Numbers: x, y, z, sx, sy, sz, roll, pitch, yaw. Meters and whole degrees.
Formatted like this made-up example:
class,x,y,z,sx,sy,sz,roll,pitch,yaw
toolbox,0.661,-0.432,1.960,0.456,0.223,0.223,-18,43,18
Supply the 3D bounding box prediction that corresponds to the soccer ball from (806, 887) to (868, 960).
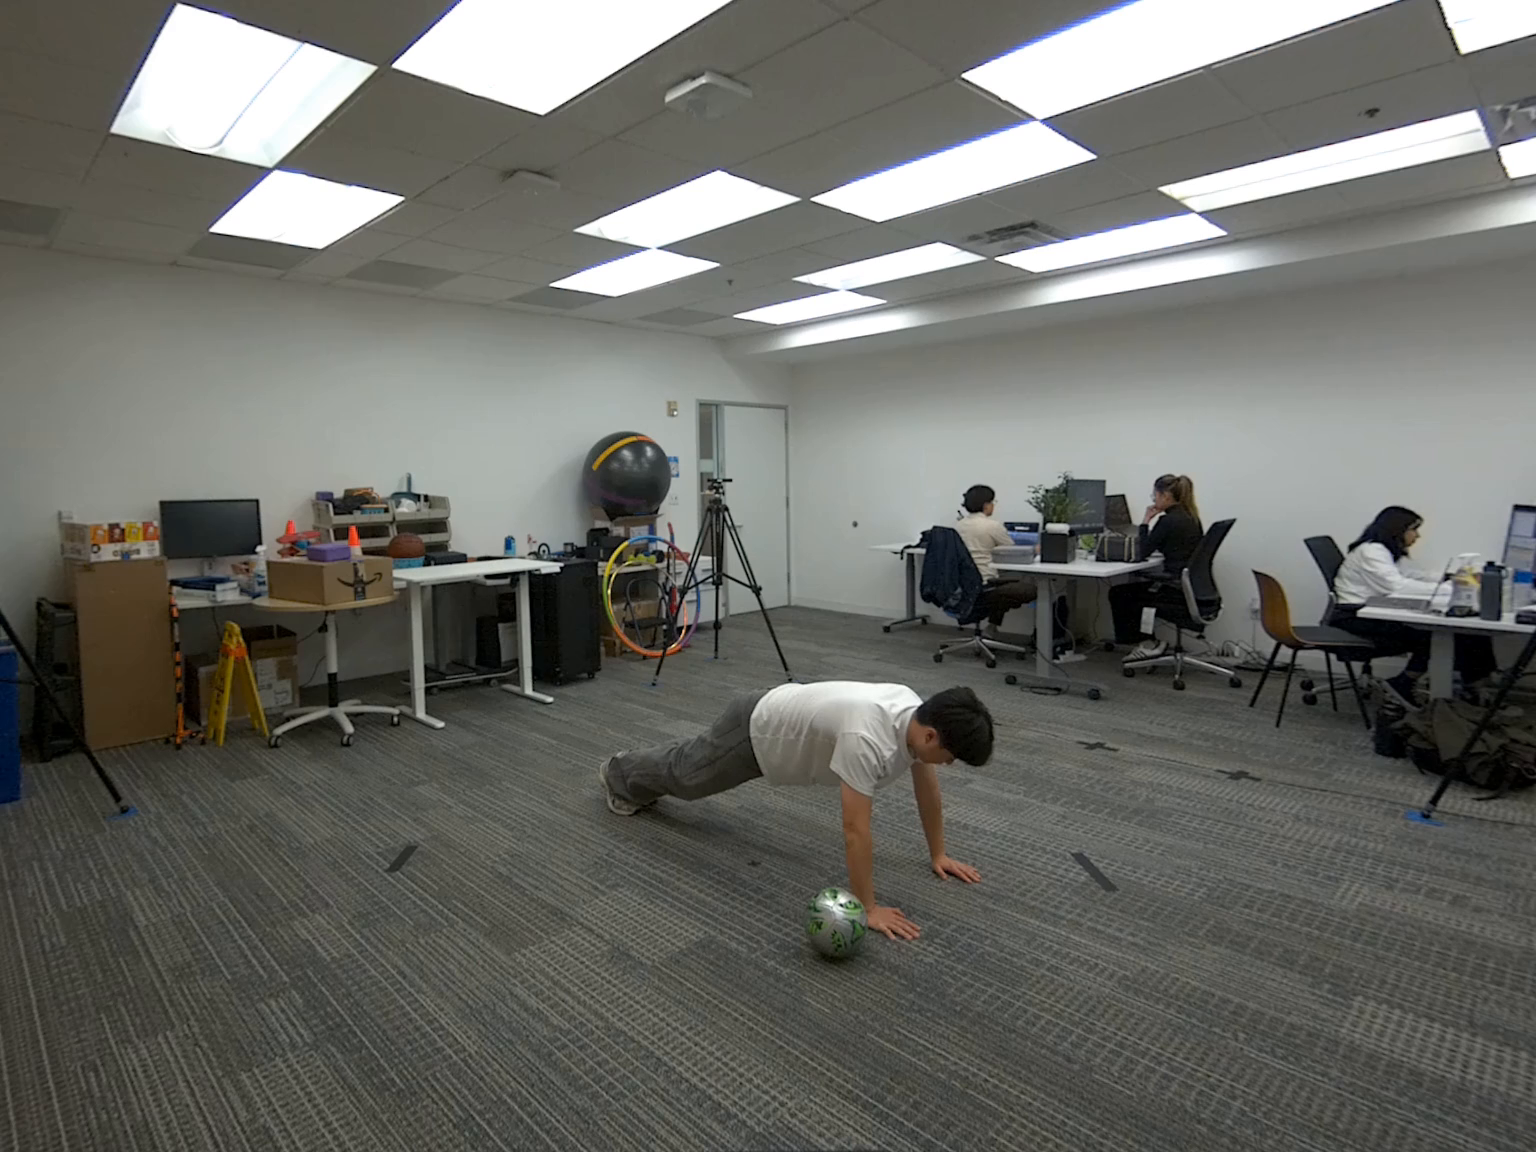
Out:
class,x,y,z,sx,sy,sz,roll,pitch,yaw
soccer ball,0.203,1.022,2.513,0.187,0.187,0.188,-1,5,-2
